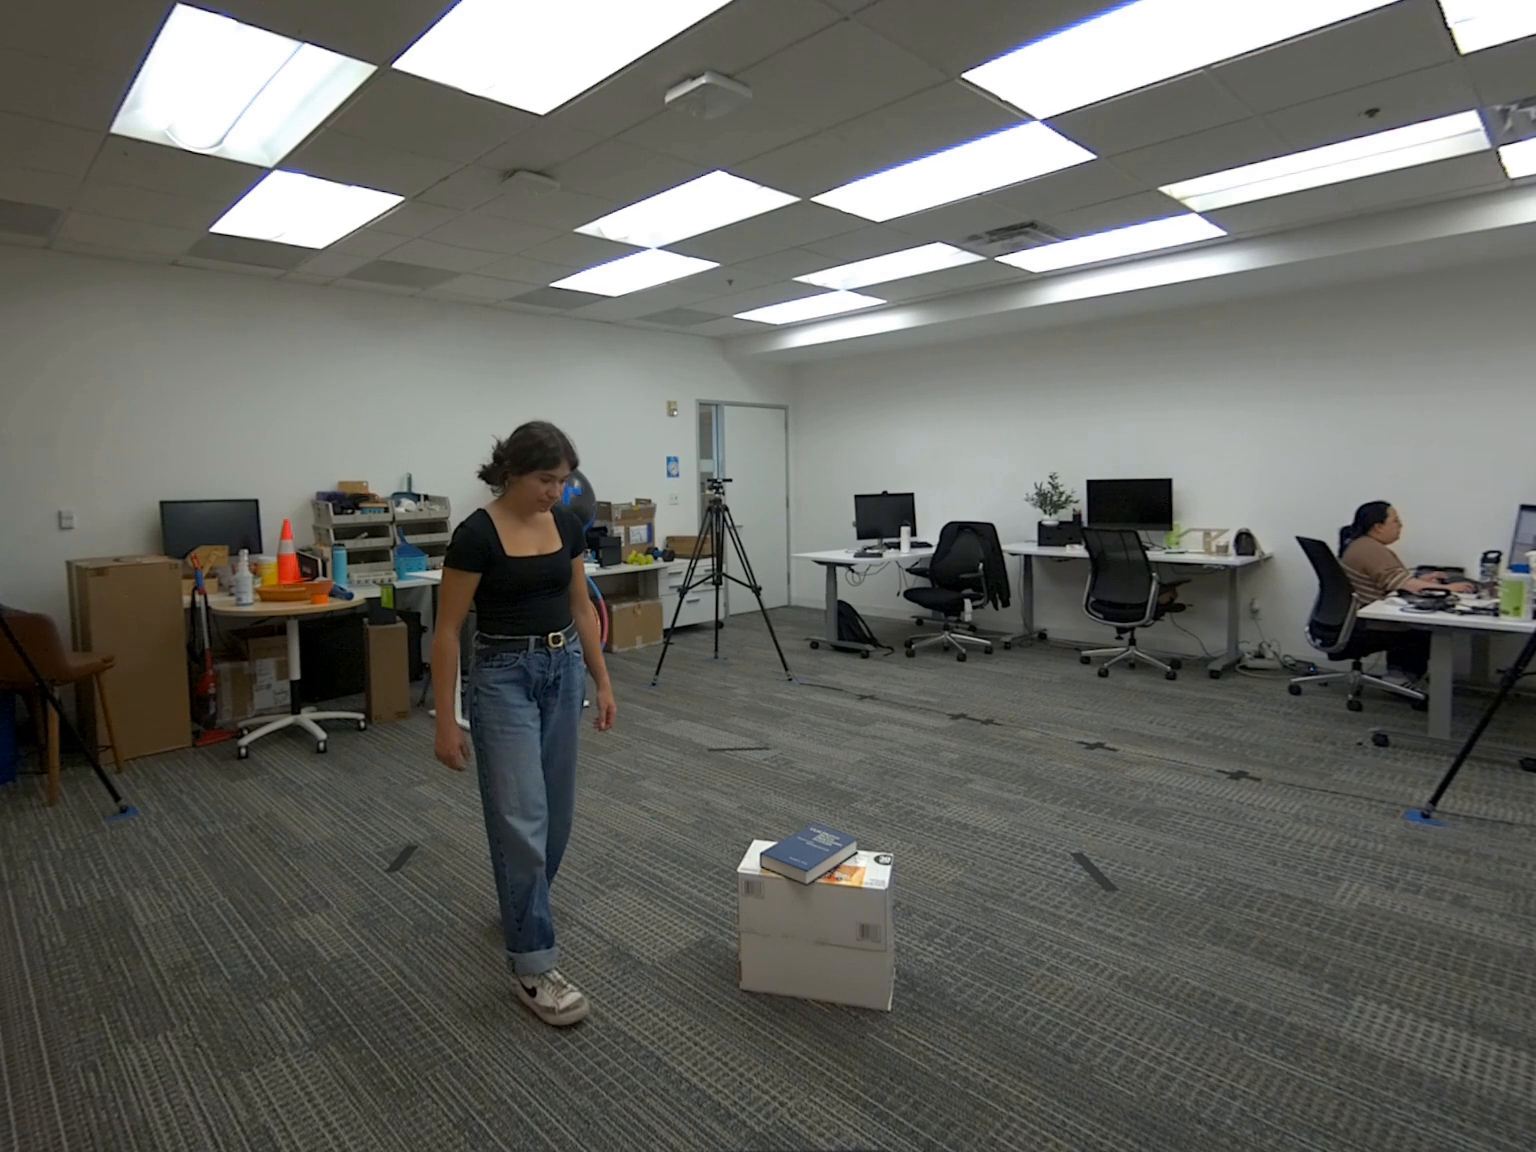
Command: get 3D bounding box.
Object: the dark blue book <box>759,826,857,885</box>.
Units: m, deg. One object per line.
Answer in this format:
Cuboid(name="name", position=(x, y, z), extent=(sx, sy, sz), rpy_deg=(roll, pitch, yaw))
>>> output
Cuboid(name="dark blue book", position=(0.118, 0.760, 2.372), extent=(0.168, 0.045, 0.239), rpy_deg=(5, 10, 40))
